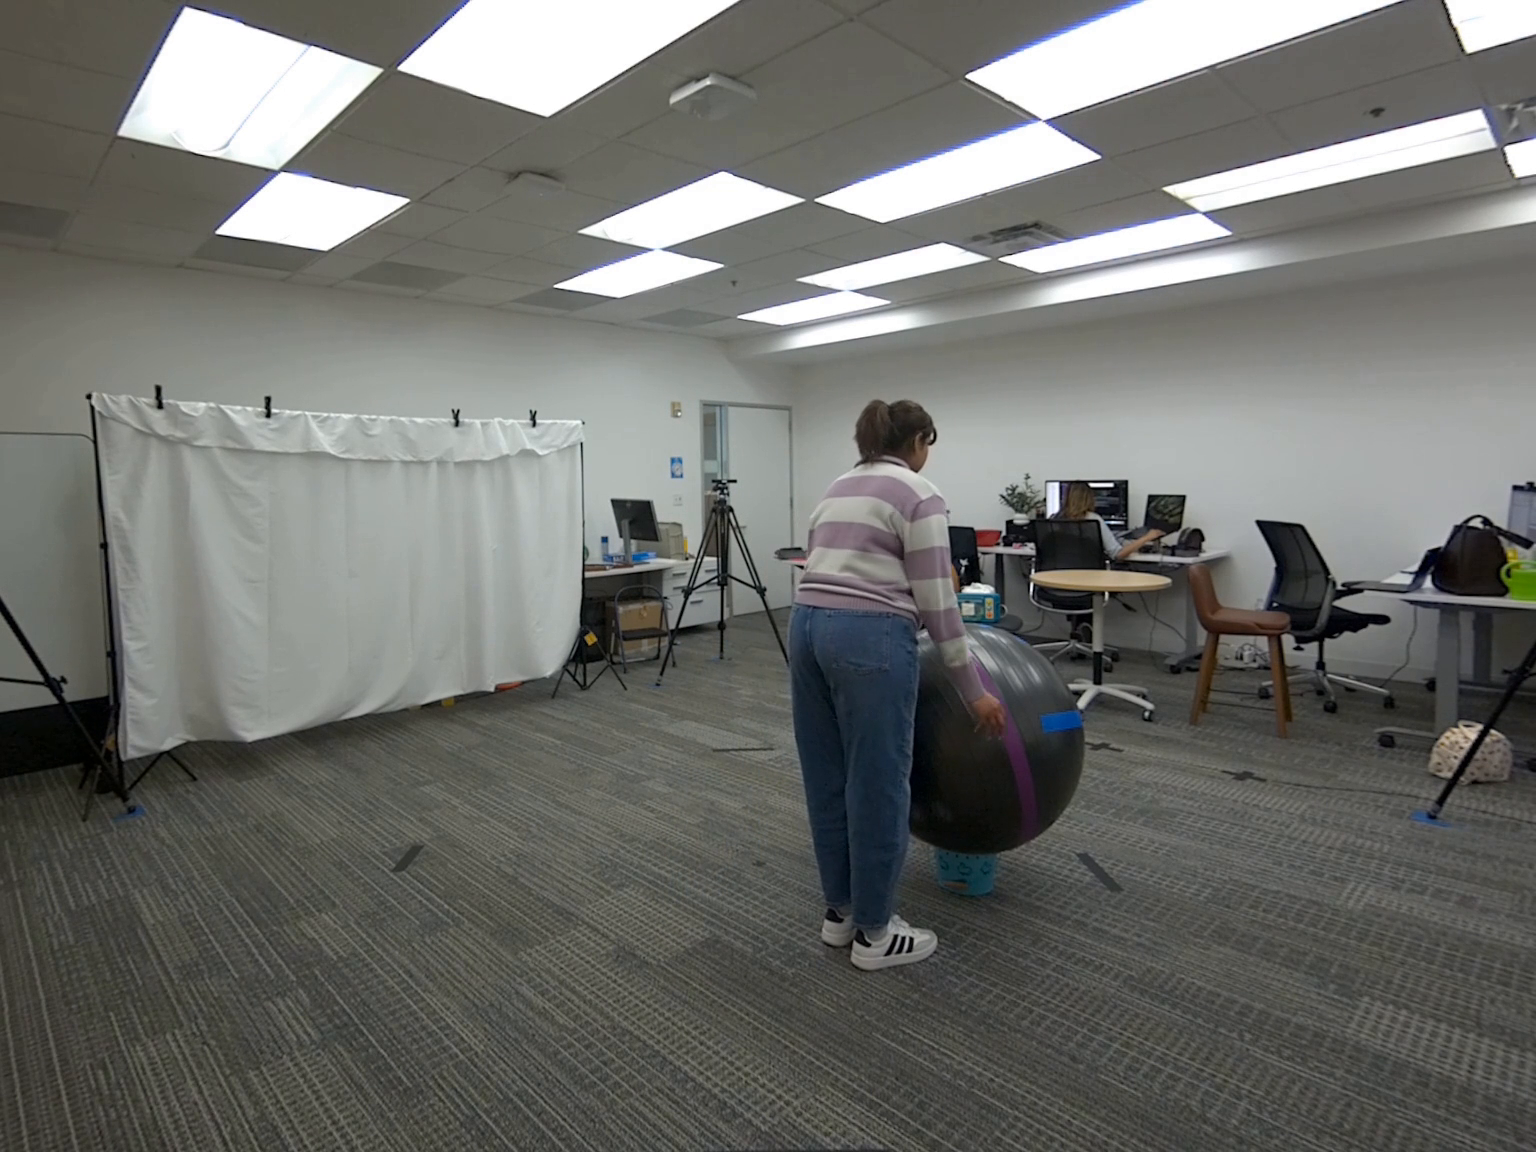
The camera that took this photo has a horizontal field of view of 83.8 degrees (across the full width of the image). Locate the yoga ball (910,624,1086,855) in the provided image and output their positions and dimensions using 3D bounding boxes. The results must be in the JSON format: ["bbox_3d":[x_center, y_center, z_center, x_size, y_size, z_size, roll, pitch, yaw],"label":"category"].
[{"bbox_3d":[0.676,0.549,2.912,0.757,0.755,0.762,-1,5,-2],"label":"yoga ball"}]
